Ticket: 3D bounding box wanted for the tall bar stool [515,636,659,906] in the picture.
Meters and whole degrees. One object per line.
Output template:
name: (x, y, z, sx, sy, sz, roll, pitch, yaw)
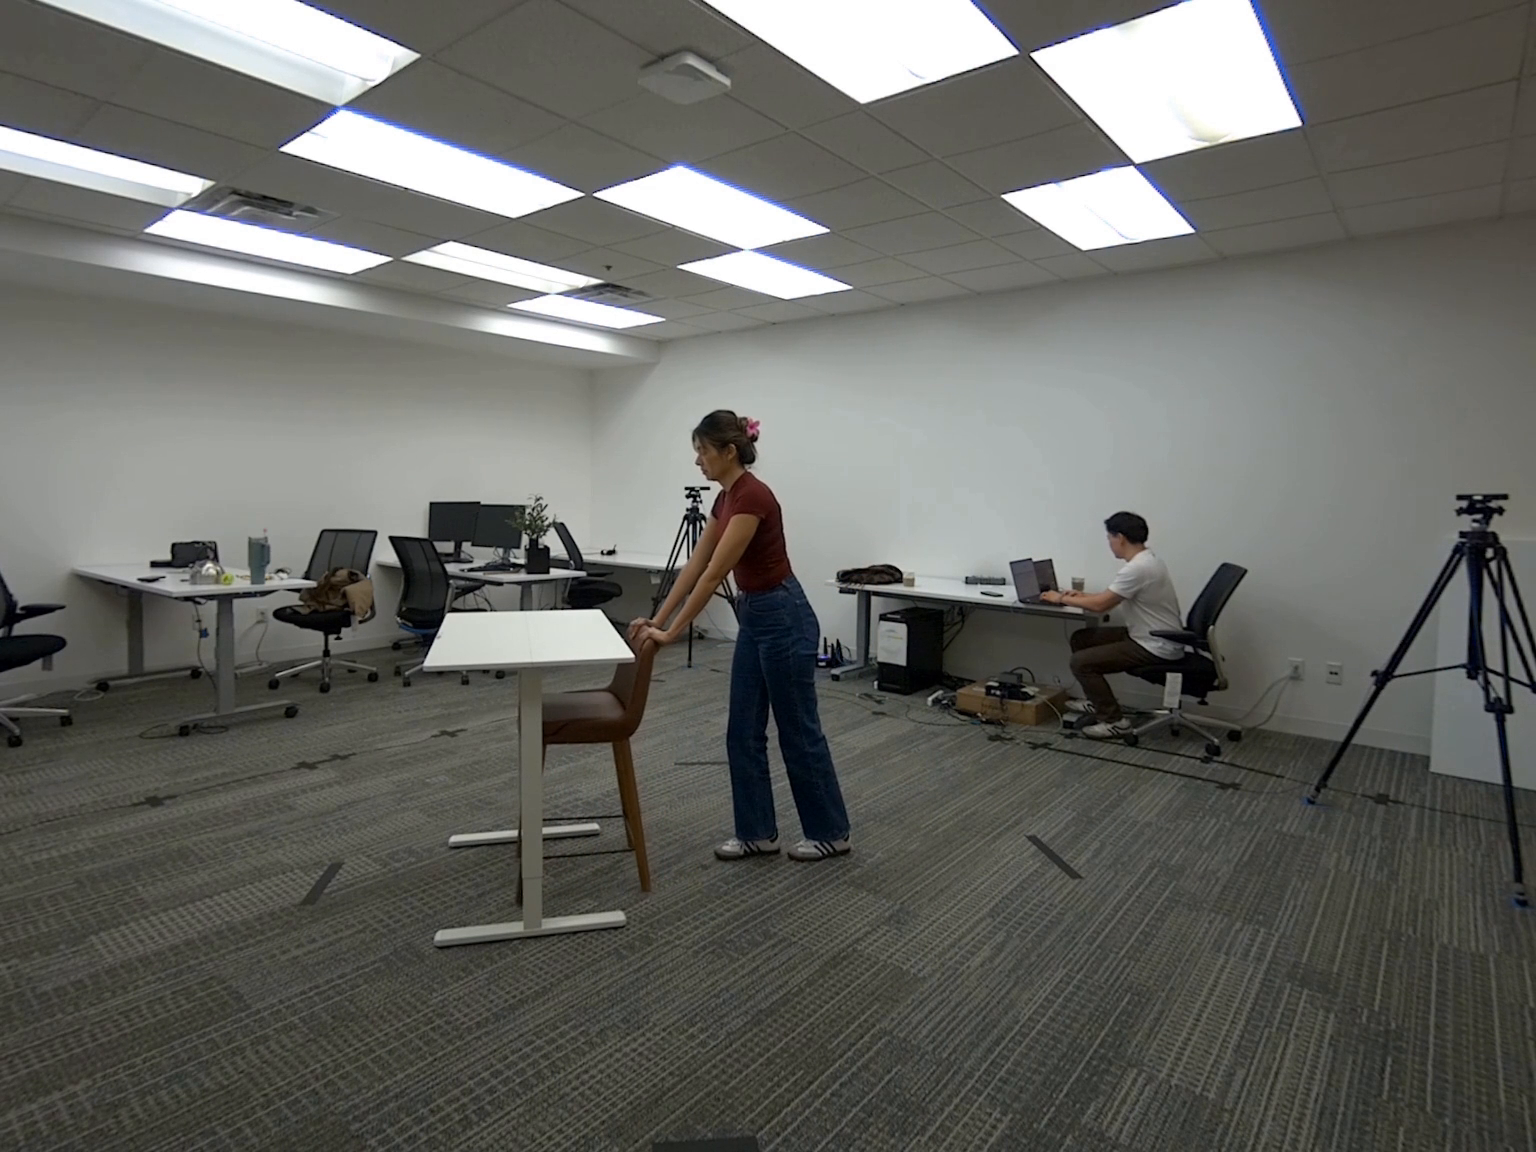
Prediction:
tall bar stool: (-0.663, 0.634, 3.029, 0.460, 0.888, 0.465, 2, 3, -15)
